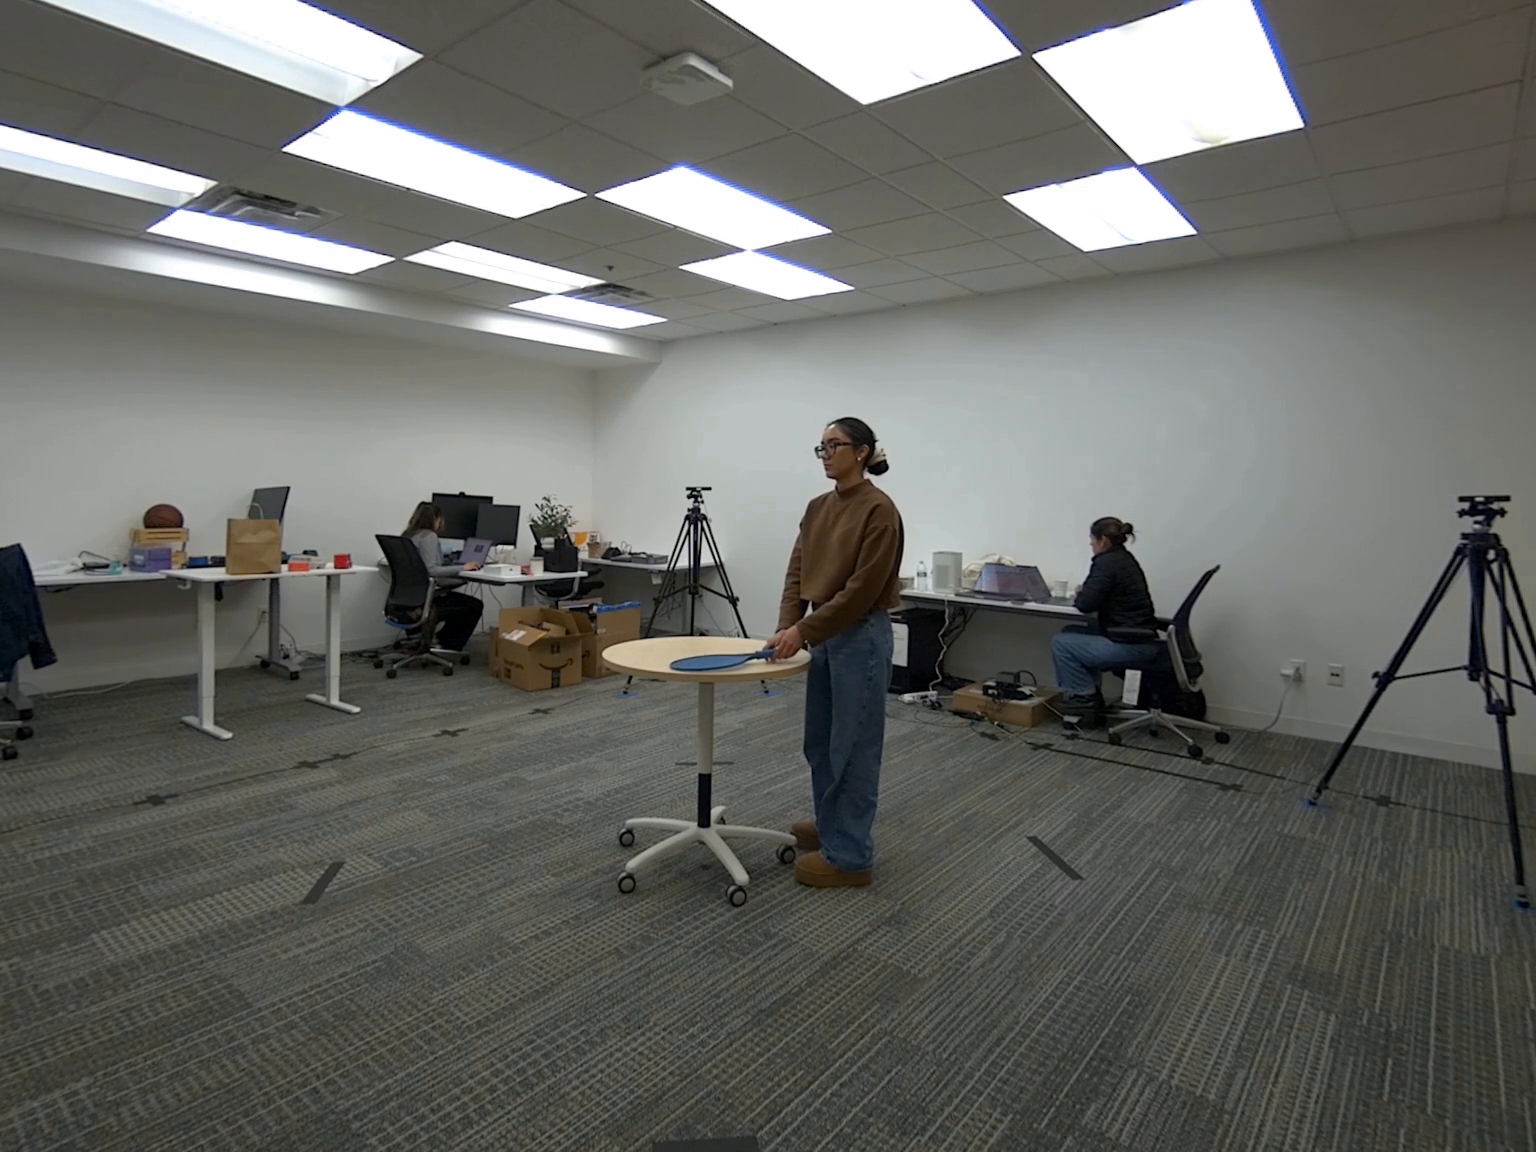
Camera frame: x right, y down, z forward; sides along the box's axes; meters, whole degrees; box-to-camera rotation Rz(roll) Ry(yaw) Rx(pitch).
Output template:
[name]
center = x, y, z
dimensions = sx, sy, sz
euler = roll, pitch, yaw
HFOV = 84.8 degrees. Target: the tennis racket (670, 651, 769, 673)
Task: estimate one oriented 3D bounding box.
[tennis racket]
center = -0.135, 0.287, 2.897
dimensions = 0.426, 0.031, 0.218
euler = -6, 6, -17
